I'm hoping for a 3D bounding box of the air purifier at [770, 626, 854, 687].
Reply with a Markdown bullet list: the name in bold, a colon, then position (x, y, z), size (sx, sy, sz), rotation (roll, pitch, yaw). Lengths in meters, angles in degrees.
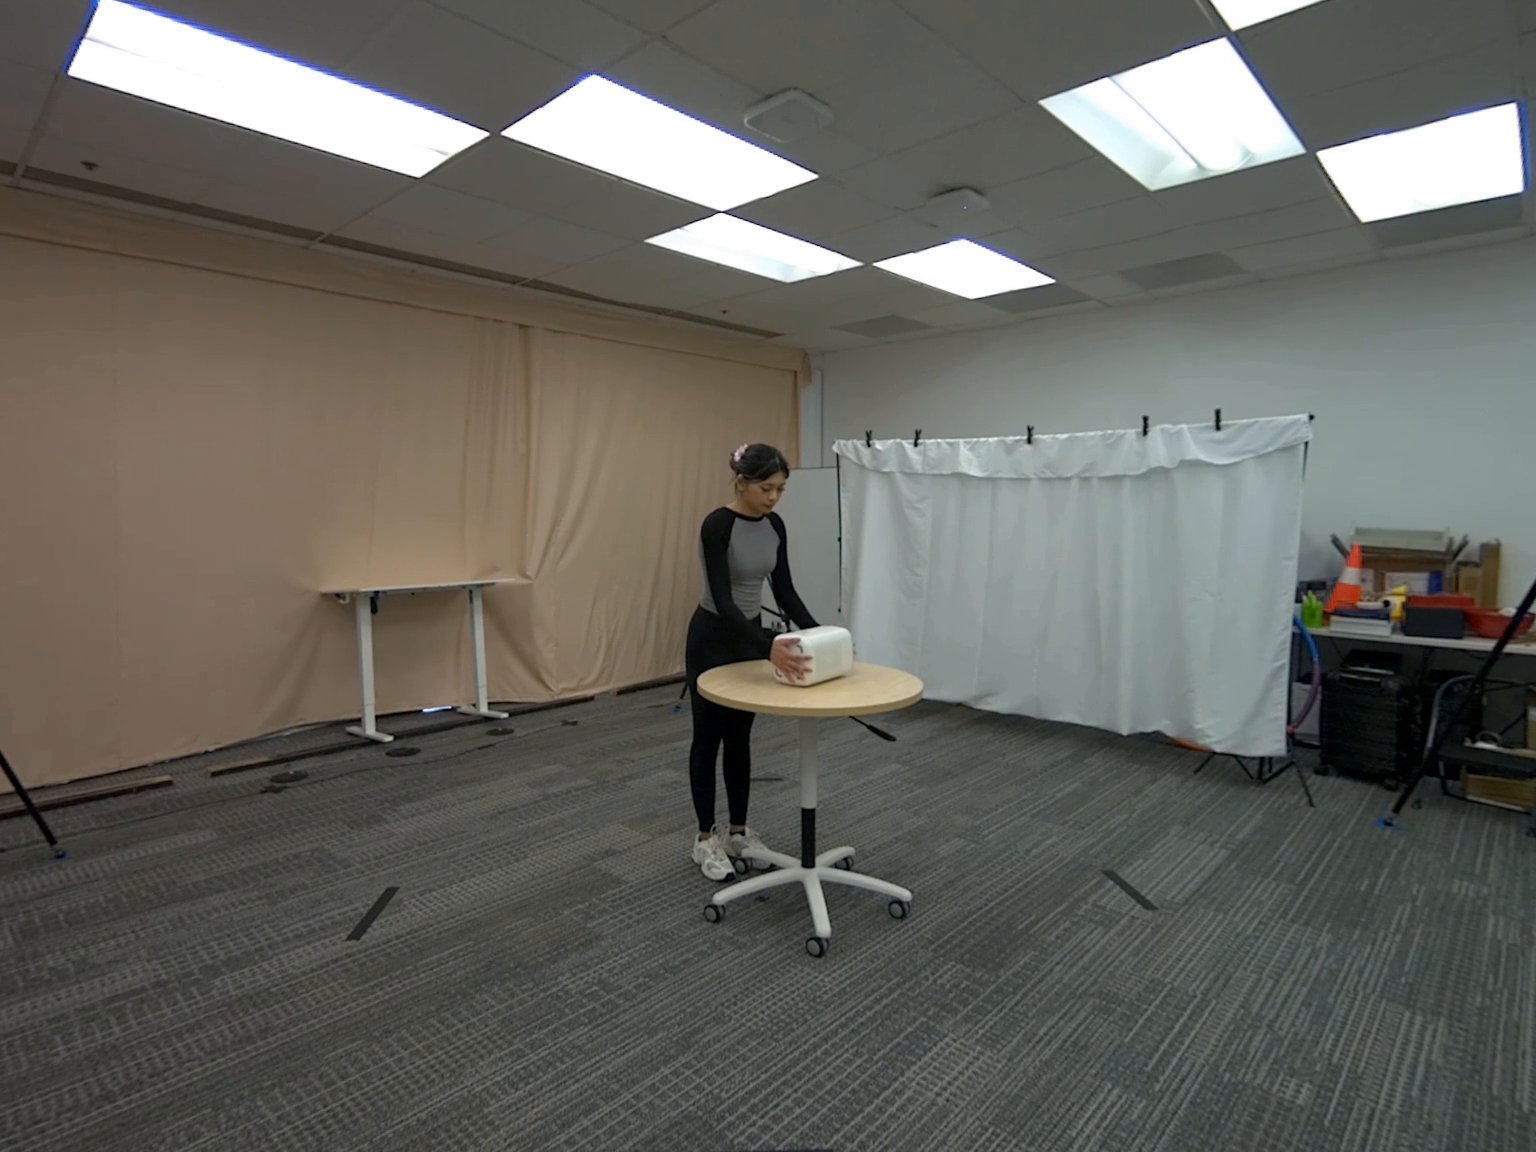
- **air purifier**: position (0.153, 0.270, 2.884), size (0.176, 0.171, 0.257), rotation (1, 4, 39)
